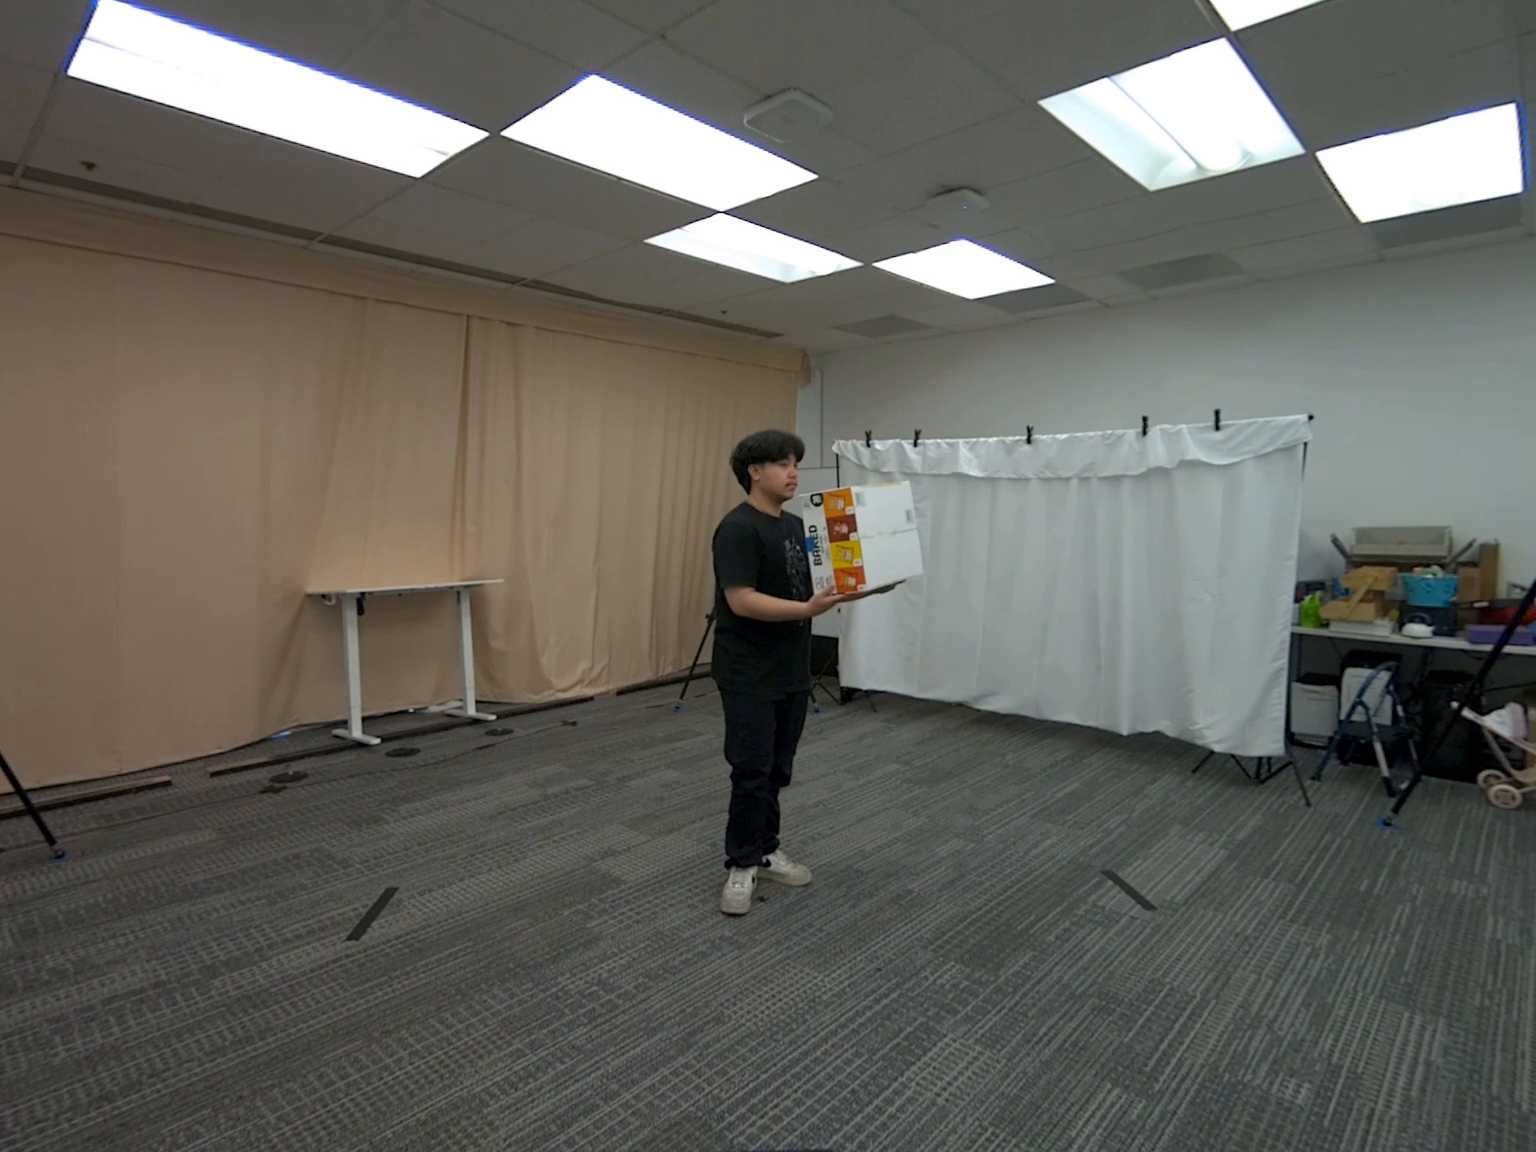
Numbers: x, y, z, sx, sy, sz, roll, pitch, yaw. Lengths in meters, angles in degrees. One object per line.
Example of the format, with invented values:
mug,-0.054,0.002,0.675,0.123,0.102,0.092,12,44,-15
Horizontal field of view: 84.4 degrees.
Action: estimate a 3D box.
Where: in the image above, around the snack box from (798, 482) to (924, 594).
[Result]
snack box,0.325,-0.130,2.892,0.212,0.340,0.394,-7,3,39
